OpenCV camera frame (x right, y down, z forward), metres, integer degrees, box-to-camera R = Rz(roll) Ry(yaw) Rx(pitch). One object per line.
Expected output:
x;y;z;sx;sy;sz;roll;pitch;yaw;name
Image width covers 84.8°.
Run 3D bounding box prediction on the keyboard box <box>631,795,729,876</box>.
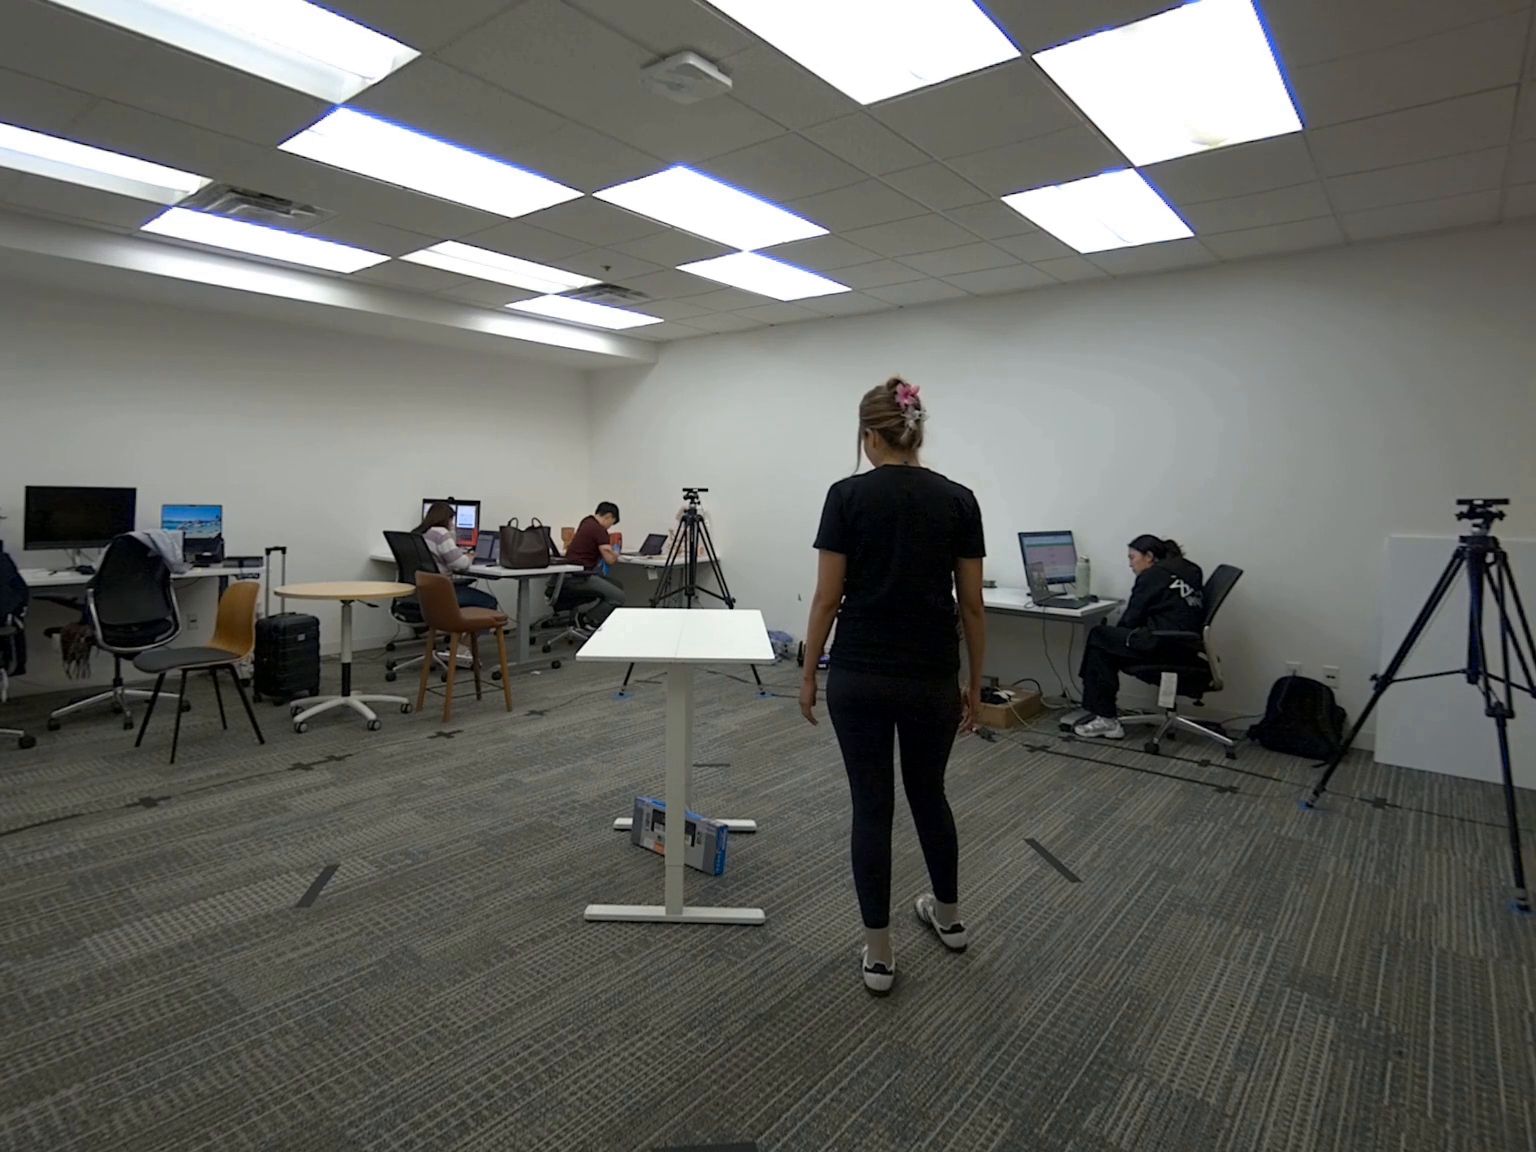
-0.351;0.970;3.208;0.451;0.176;0.057;5;-2;39;keyboard box
